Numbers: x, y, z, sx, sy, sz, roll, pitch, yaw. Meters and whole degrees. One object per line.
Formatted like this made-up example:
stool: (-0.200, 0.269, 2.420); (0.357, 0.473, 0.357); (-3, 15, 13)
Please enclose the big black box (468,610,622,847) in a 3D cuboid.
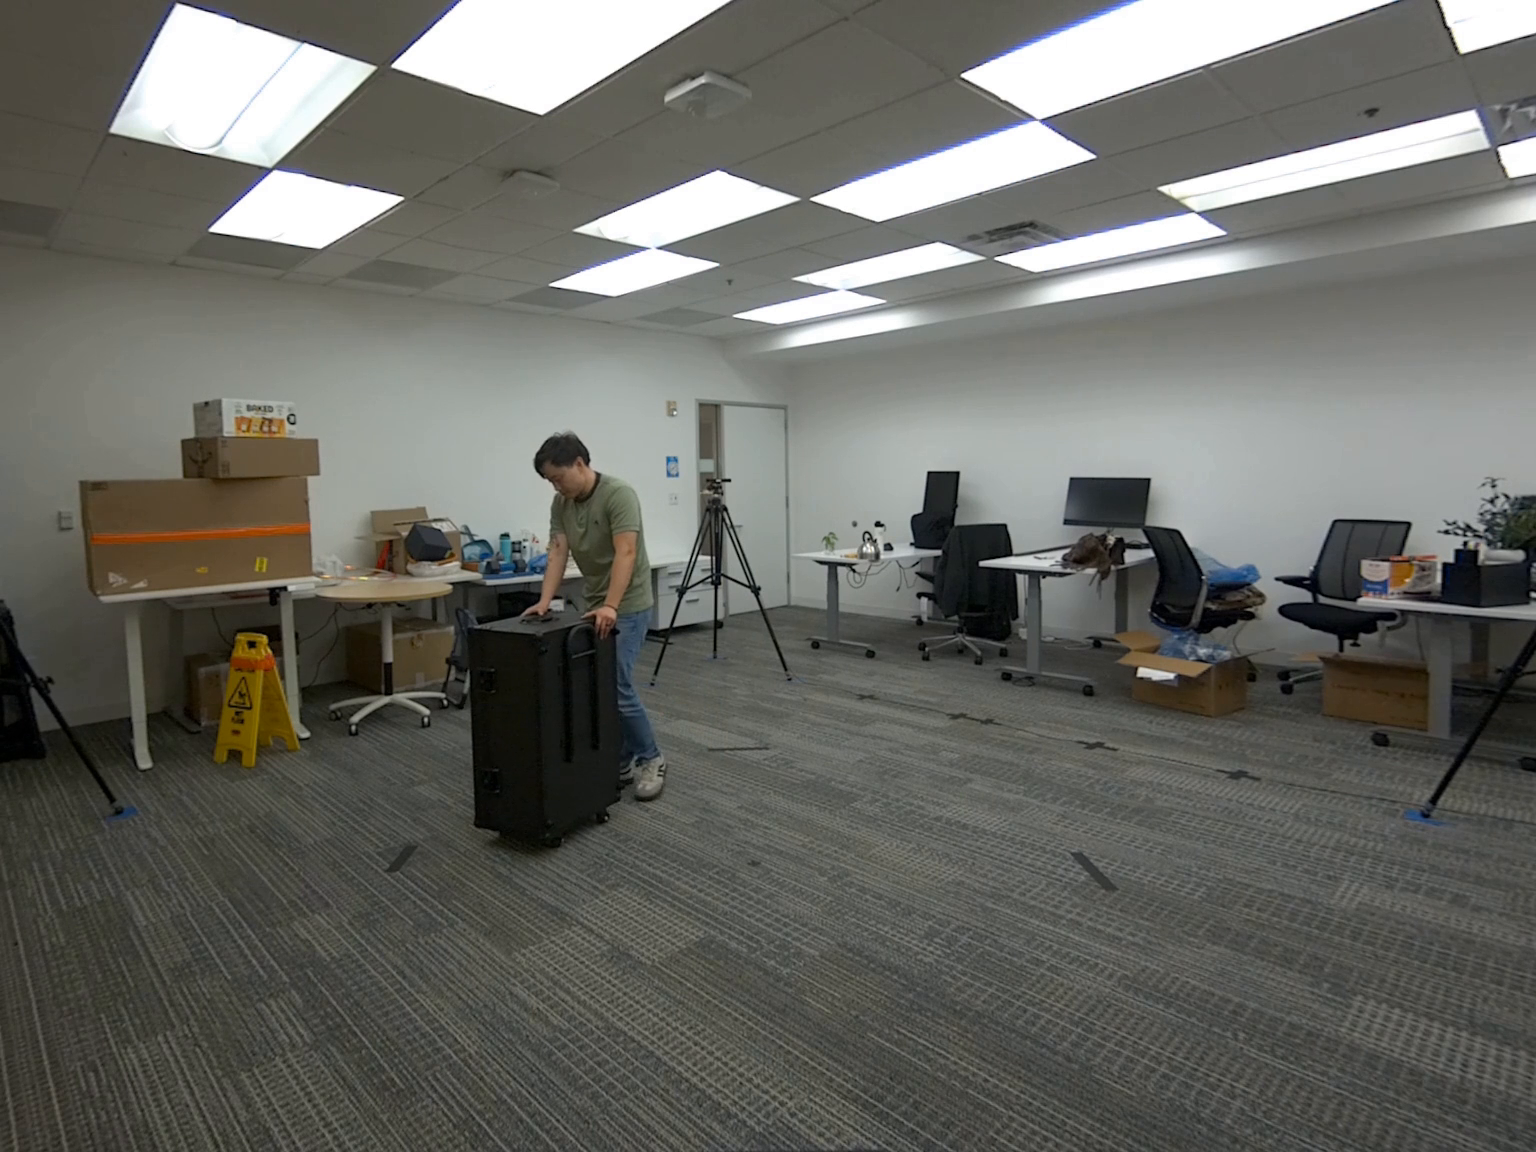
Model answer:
big black box: (-0.872, 0.605, 3.412); (0.406, 0.858, 0.510); (2, 5, 27)
